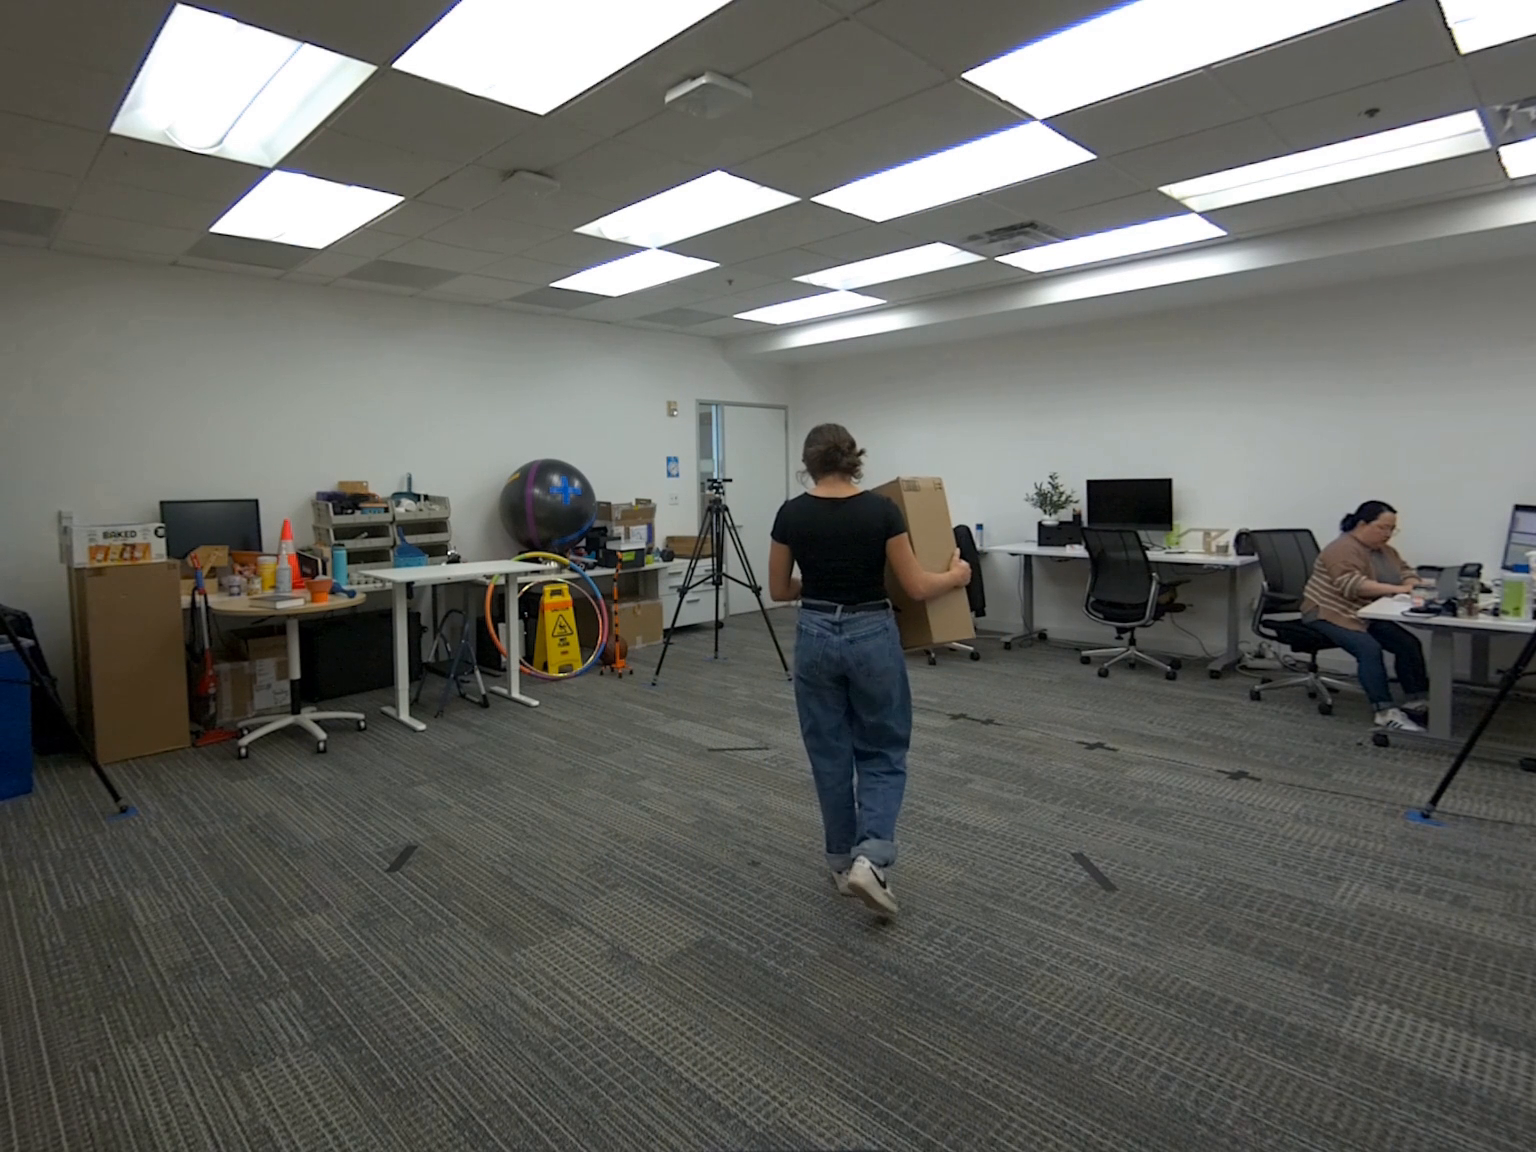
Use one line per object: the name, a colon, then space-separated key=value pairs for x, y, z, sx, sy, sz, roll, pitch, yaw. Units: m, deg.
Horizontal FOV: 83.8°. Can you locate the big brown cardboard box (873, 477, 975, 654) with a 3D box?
big brown cardboard box: x=0.454 y=-0.019 z=3.026 sx=0.227 sy=0.596 sz=0.424 roll=0 pitch=-13 yaw=-37
